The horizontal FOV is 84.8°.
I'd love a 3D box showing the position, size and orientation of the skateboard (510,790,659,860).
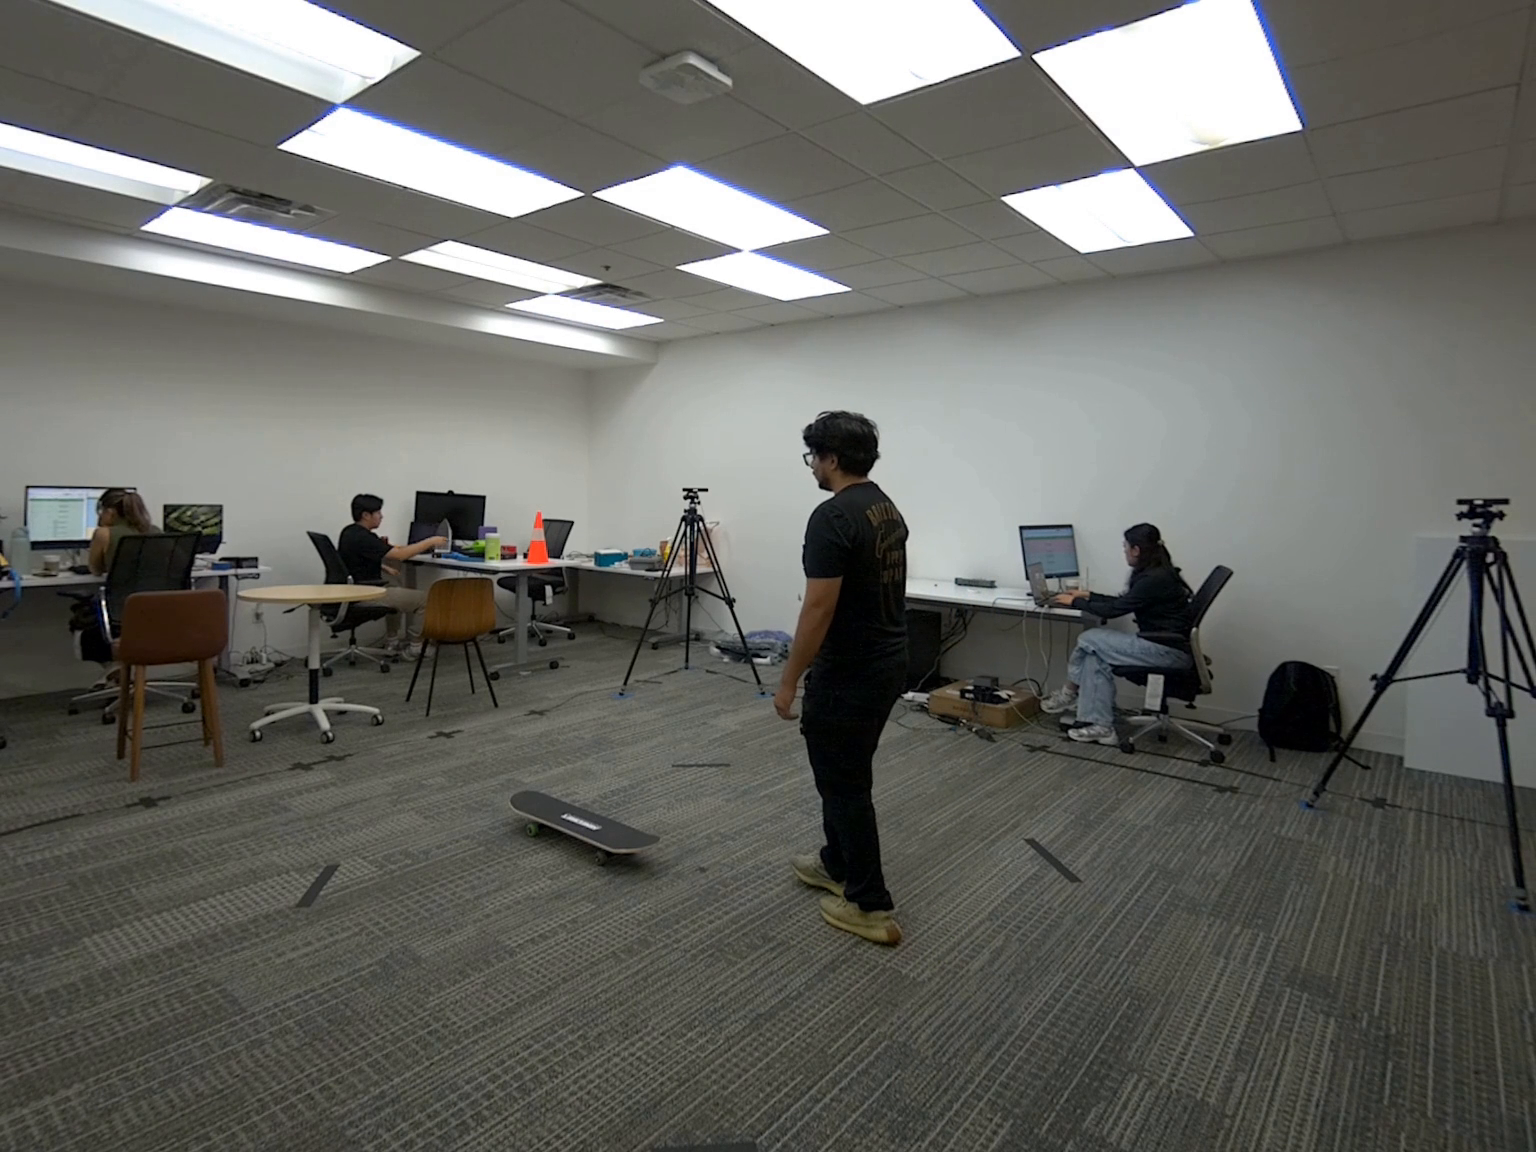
[{"bbox_3d":[-0.738,0.983,3.307,0.812,0.110,0.188,5,6,38],"label":"skateboard"}]
